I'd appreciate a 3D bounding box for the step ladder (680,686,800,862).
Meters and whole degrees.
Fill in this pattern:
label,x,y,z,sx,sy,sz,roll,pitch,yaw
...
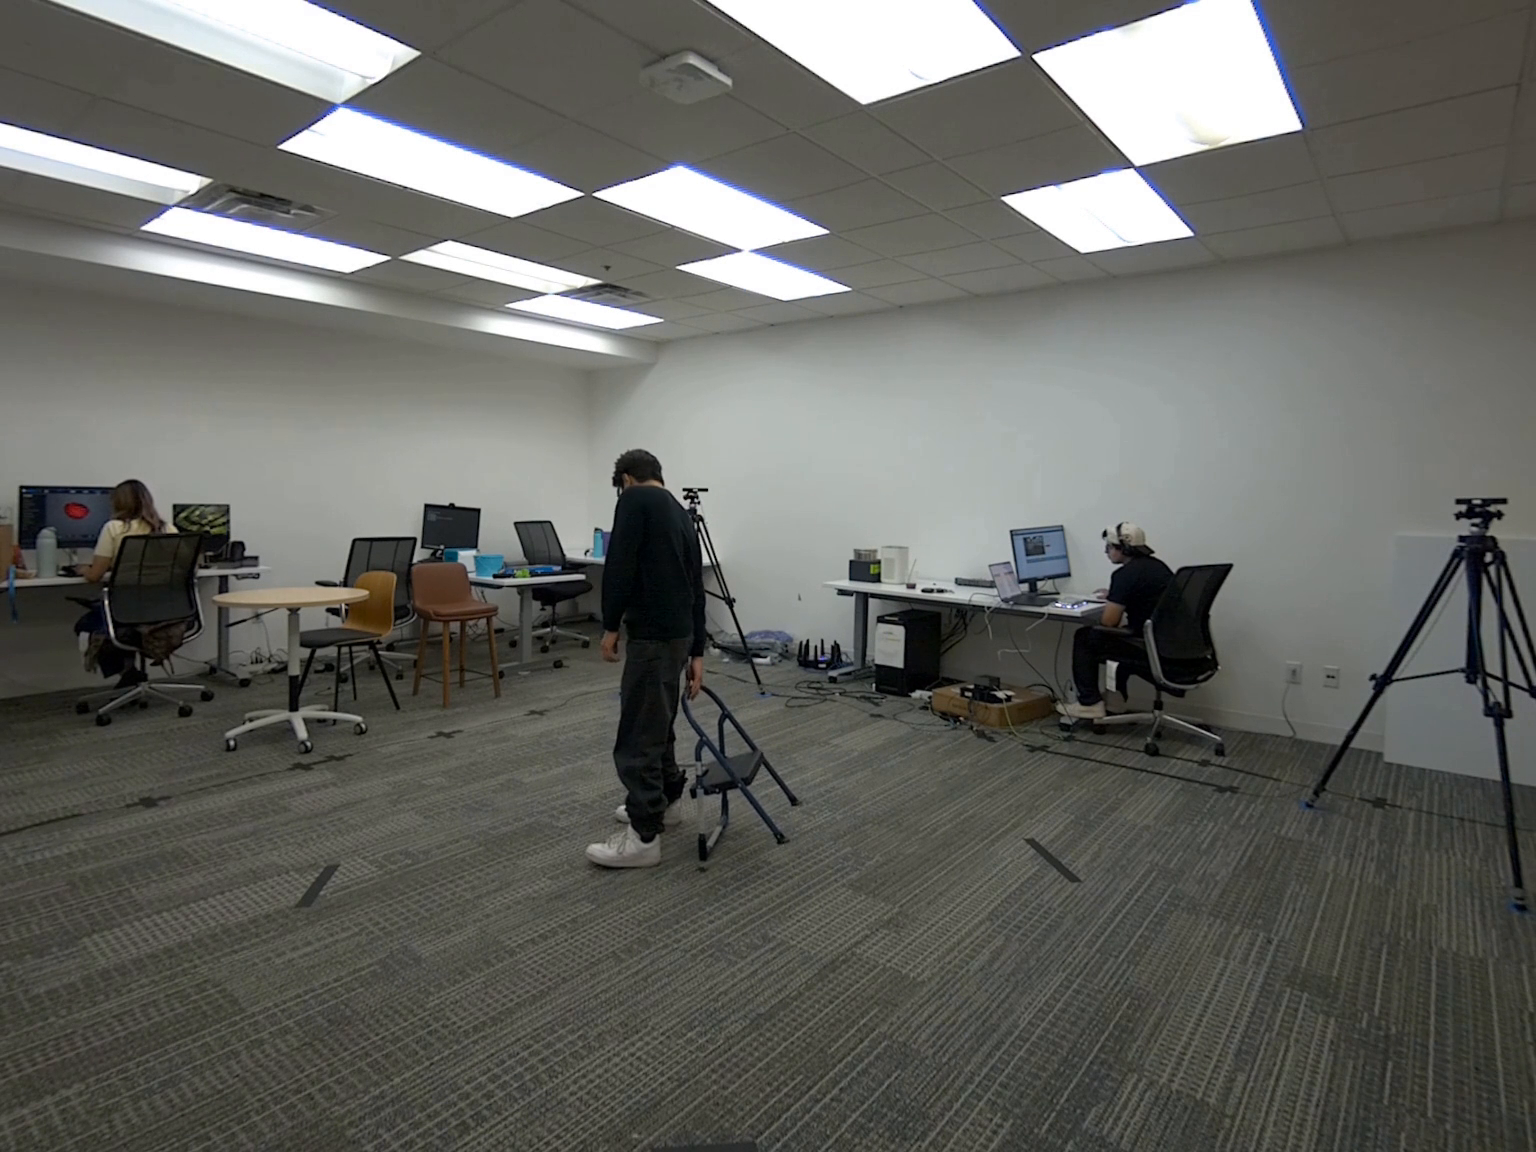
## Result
label,x,y,z,sx,sy,sz,roll,pitch,yaw
step ladder,-0.157,0.717,3.345,0.352,0.607,0.426,-17,0,12
